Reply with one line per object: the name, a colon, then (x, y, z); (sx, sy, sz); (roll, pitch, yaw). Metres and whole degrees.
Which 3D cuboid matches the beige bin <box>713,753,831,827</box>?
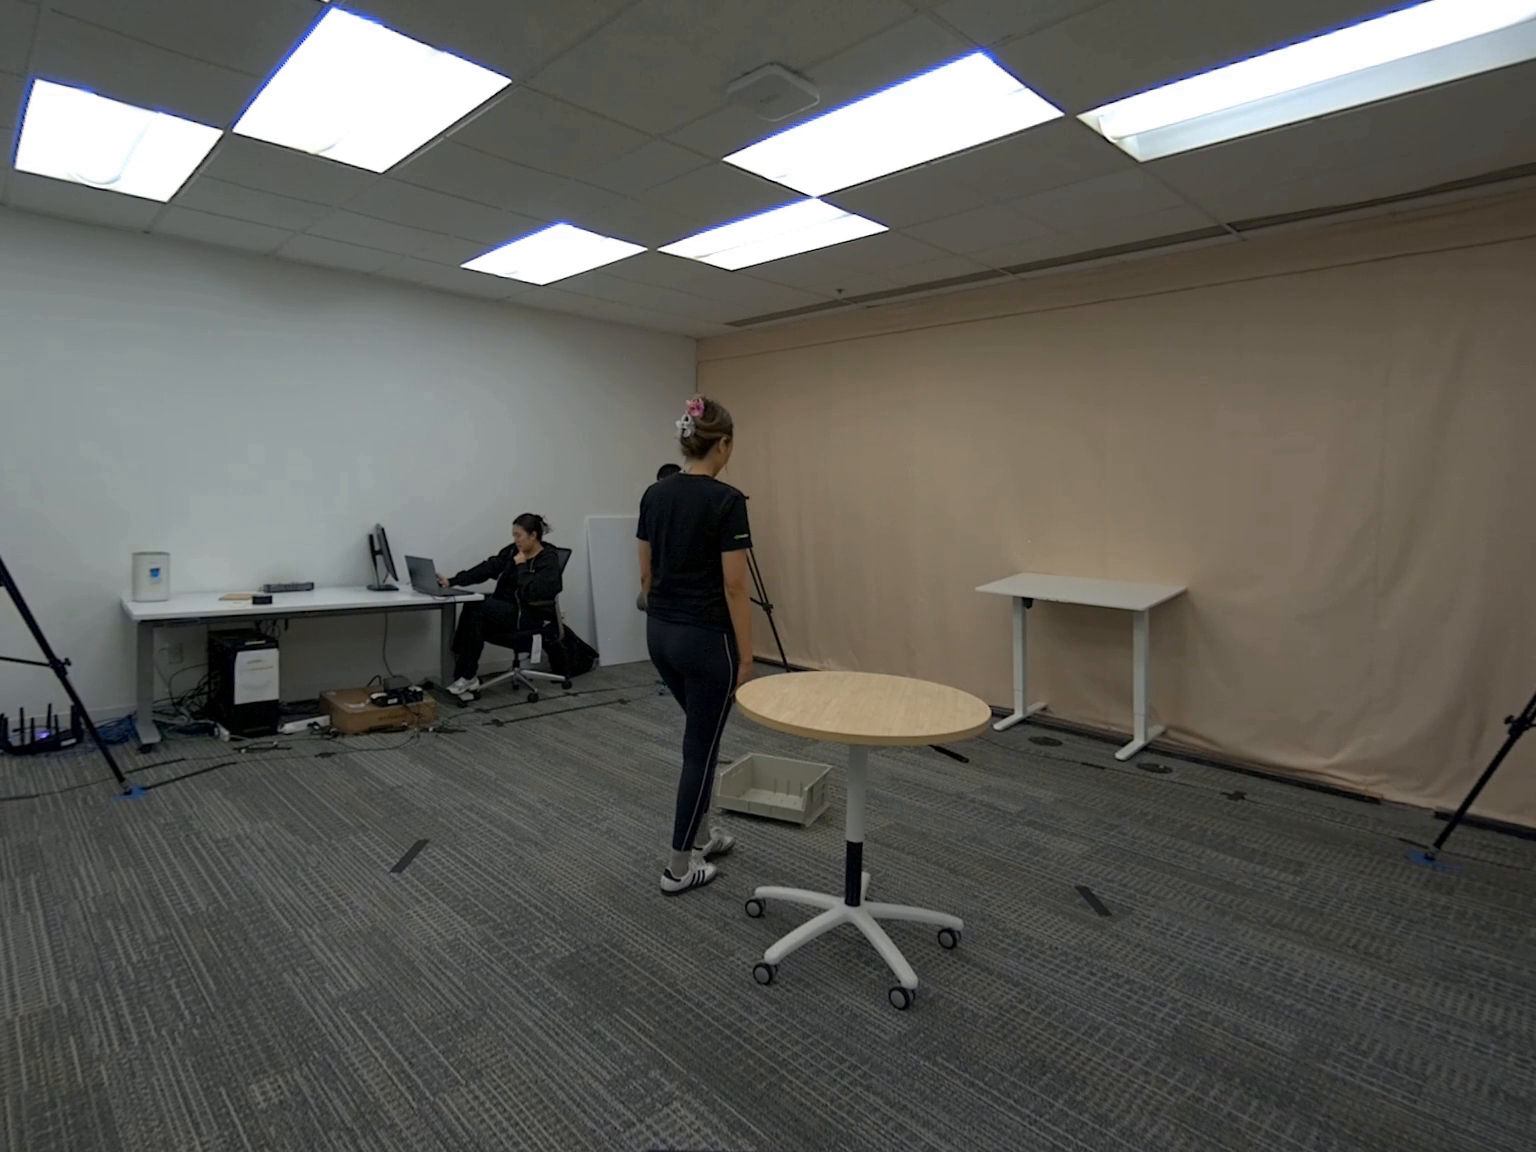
beige bin: (0.023, 0.962, 3.785); (0.430, 0.188, 0.371); (3, 4, 23)
